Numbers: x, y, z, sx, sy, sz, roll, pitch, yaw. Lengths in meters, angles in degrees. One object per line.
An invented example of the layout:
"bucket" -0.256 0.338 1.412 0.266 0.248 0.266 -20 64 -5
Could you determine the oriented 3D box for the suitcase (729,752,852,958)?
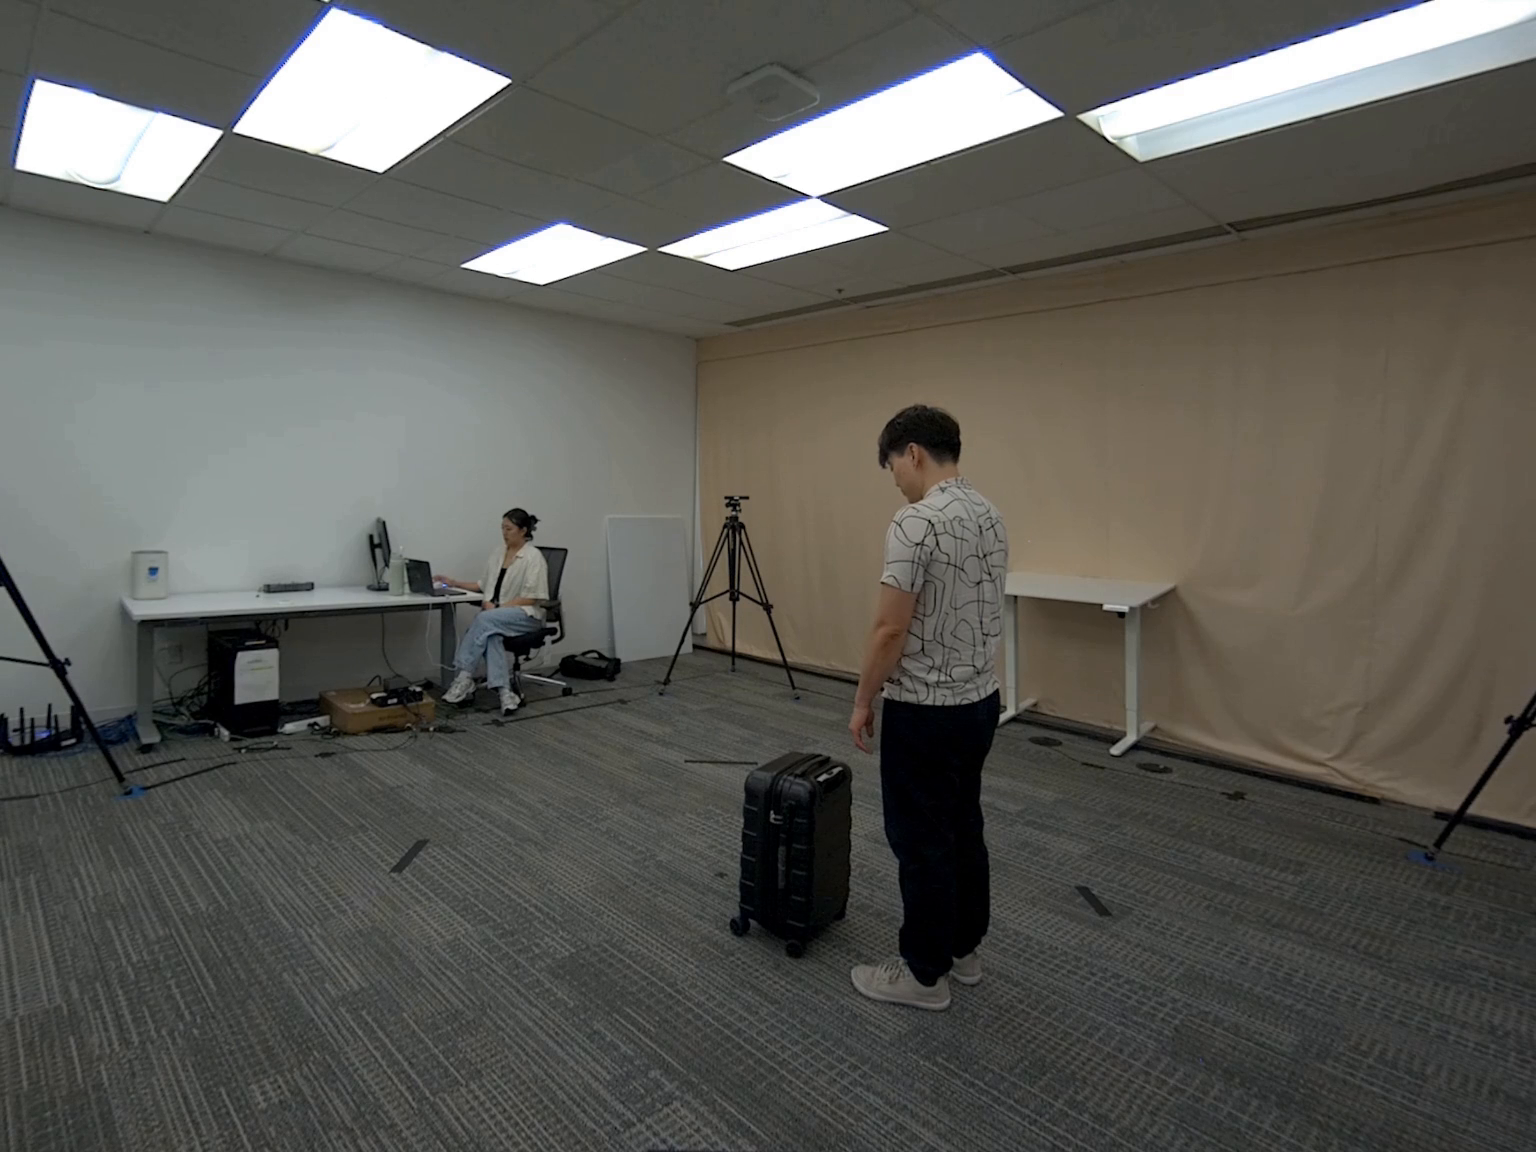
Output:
"suitcase" 0.088 0.869 2.722 0.254 0.547 0.368 4 5 32
